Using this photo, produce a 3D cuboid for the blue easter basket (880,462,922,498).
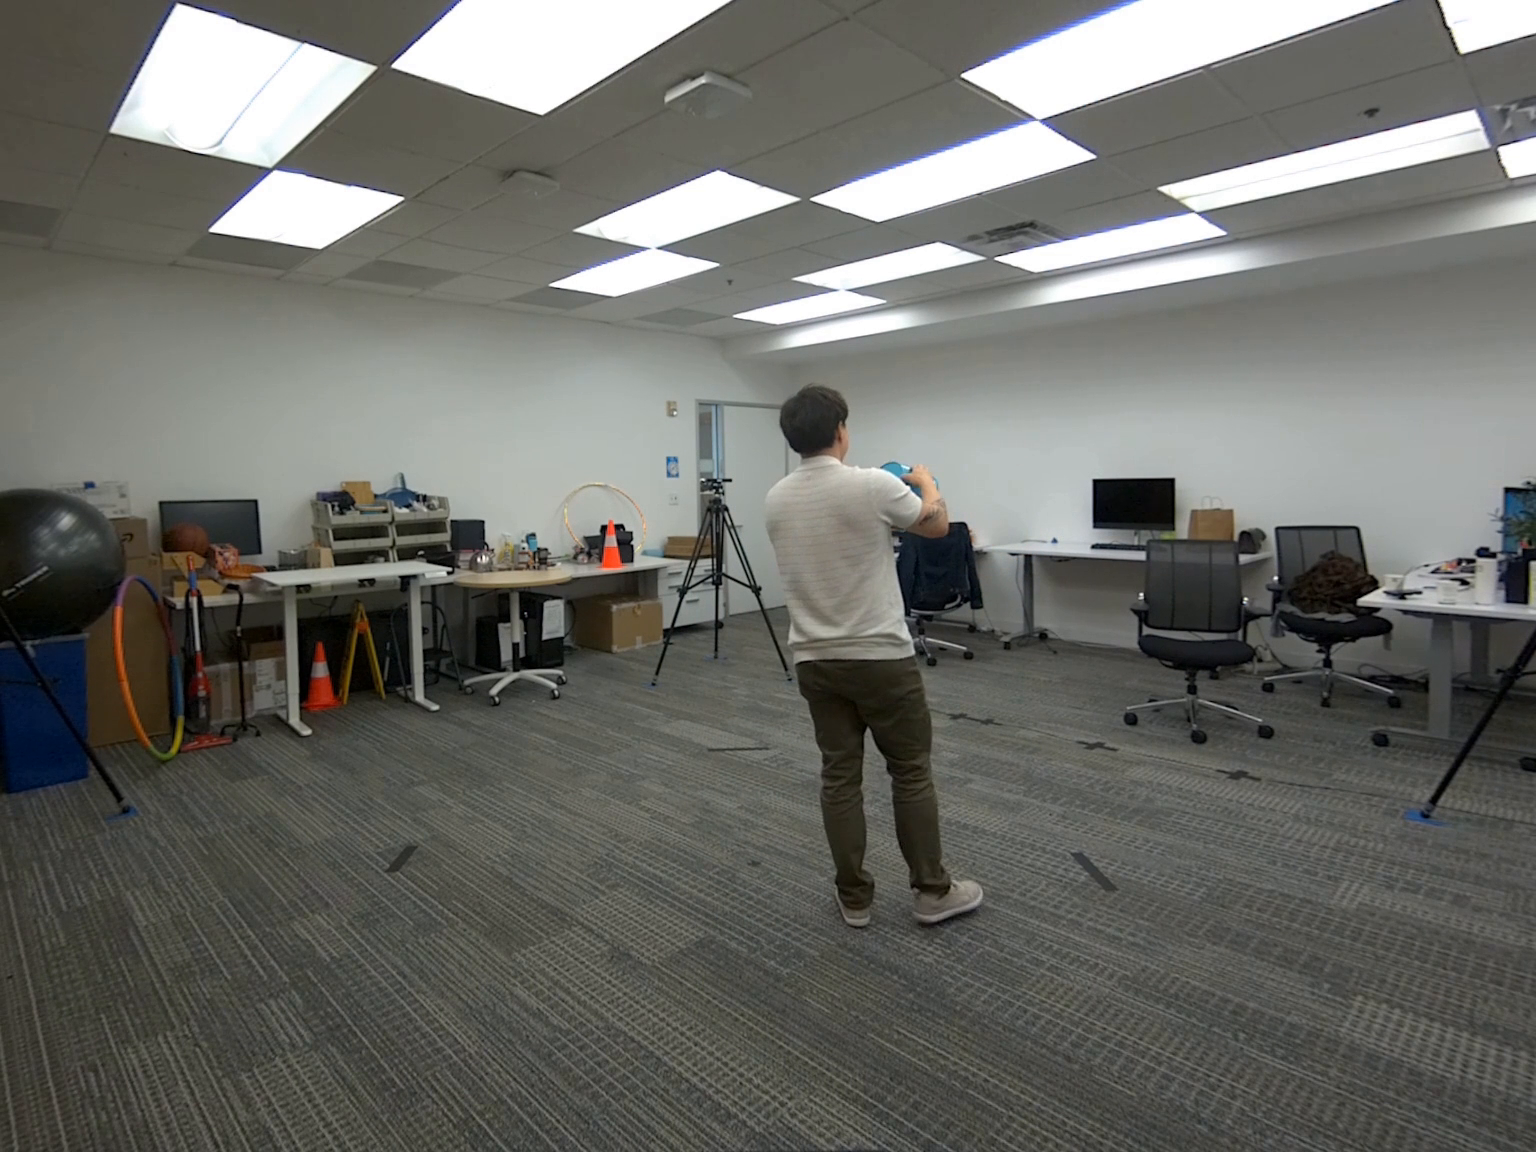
[{"bbox_3d":[0.479,-0.295,3.063,0.151,0.244,0.250,24,-9,-31],"label":"blue easter basket"}]
